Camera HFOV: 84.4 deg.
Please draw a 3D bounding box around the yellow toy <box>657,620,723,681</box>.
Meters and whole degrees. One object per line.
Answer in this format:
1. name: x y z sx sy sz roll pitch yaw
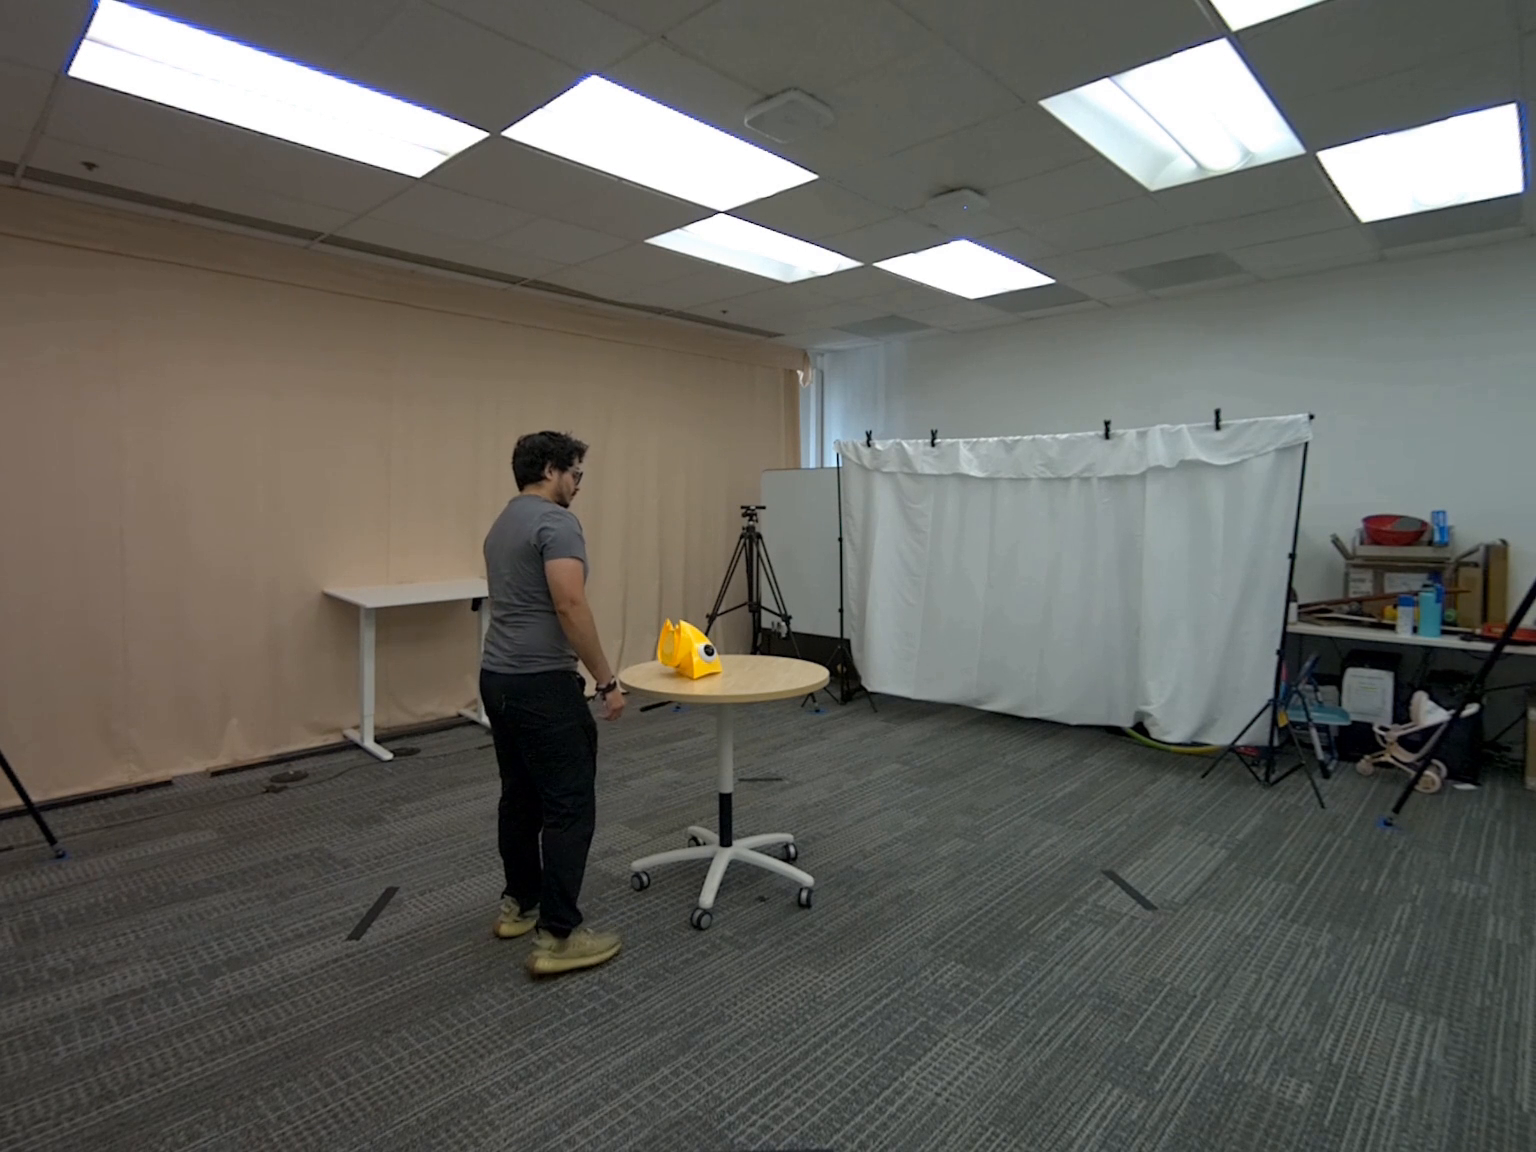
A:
1. yellow toy: -0.258 0.269 3.051 0.224 0.193 0.210 11 -3 -26
